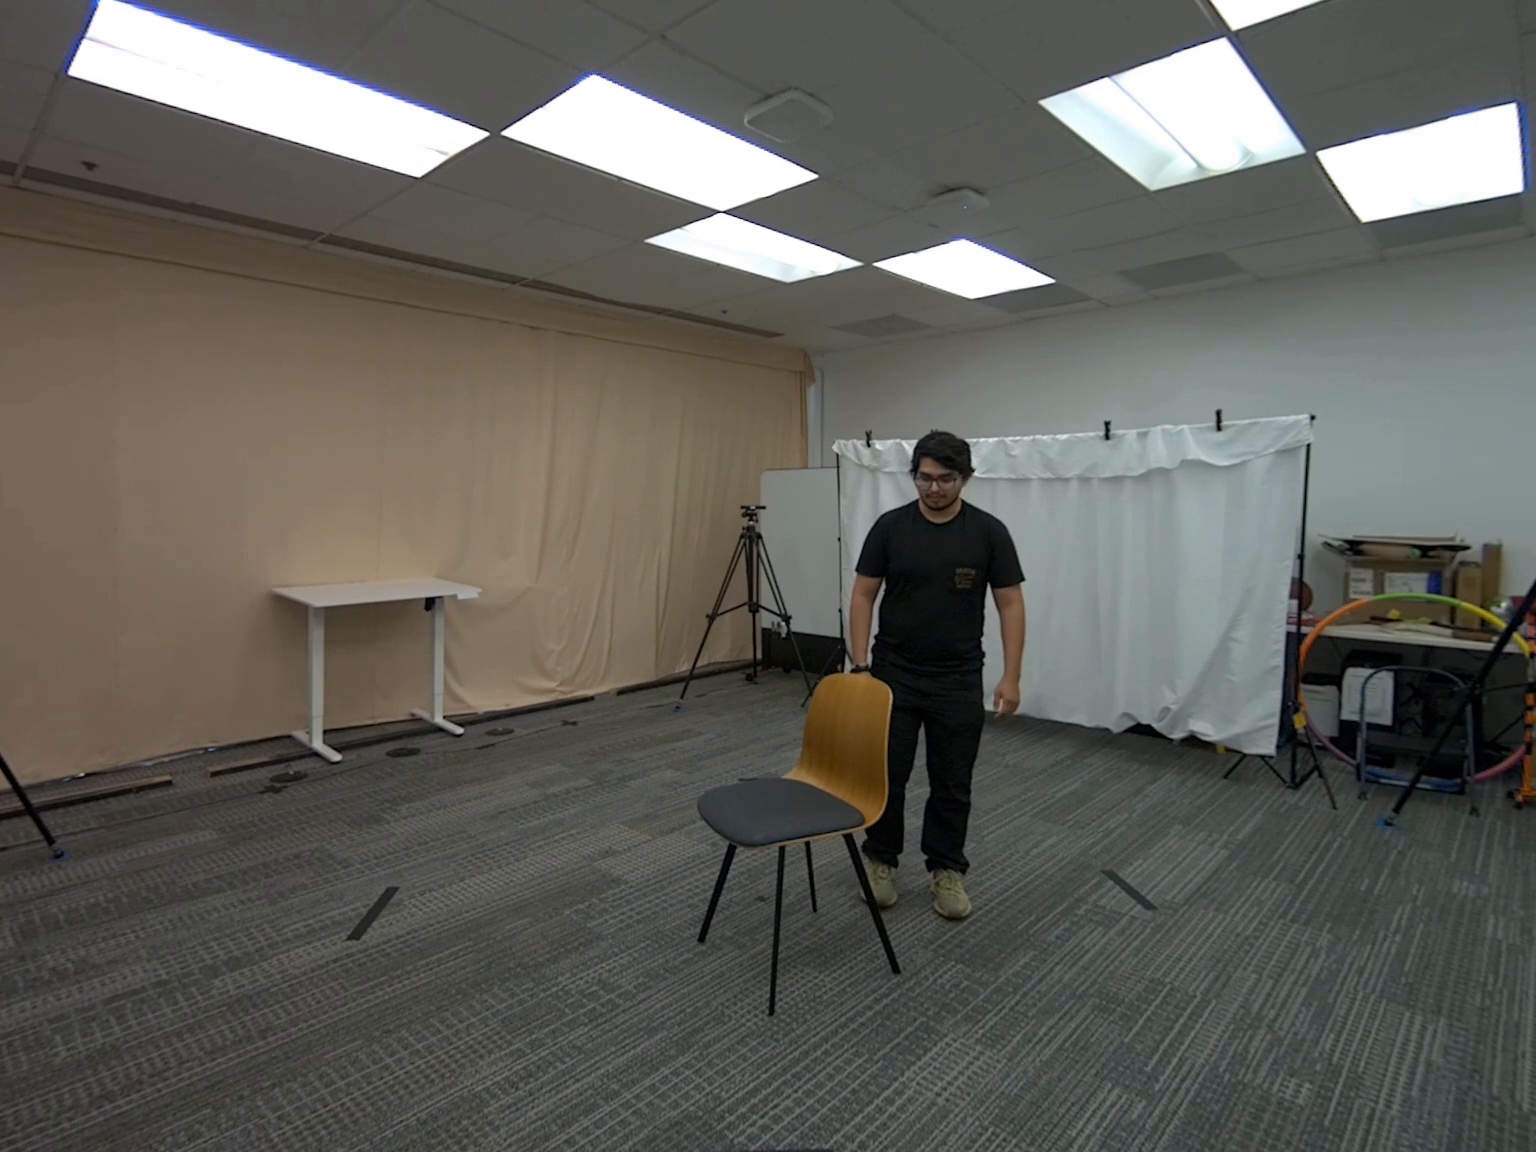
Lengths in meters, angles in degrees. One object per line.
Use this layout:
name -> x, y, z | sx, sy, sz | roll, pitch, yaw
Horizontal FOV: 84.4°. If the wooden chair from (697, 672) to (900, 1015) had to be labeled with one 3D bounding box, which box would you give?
wooden chair -> 0.084, 0.751, 2.566 | 0.509, 0.876, 0.492 | 3, 2, -30
